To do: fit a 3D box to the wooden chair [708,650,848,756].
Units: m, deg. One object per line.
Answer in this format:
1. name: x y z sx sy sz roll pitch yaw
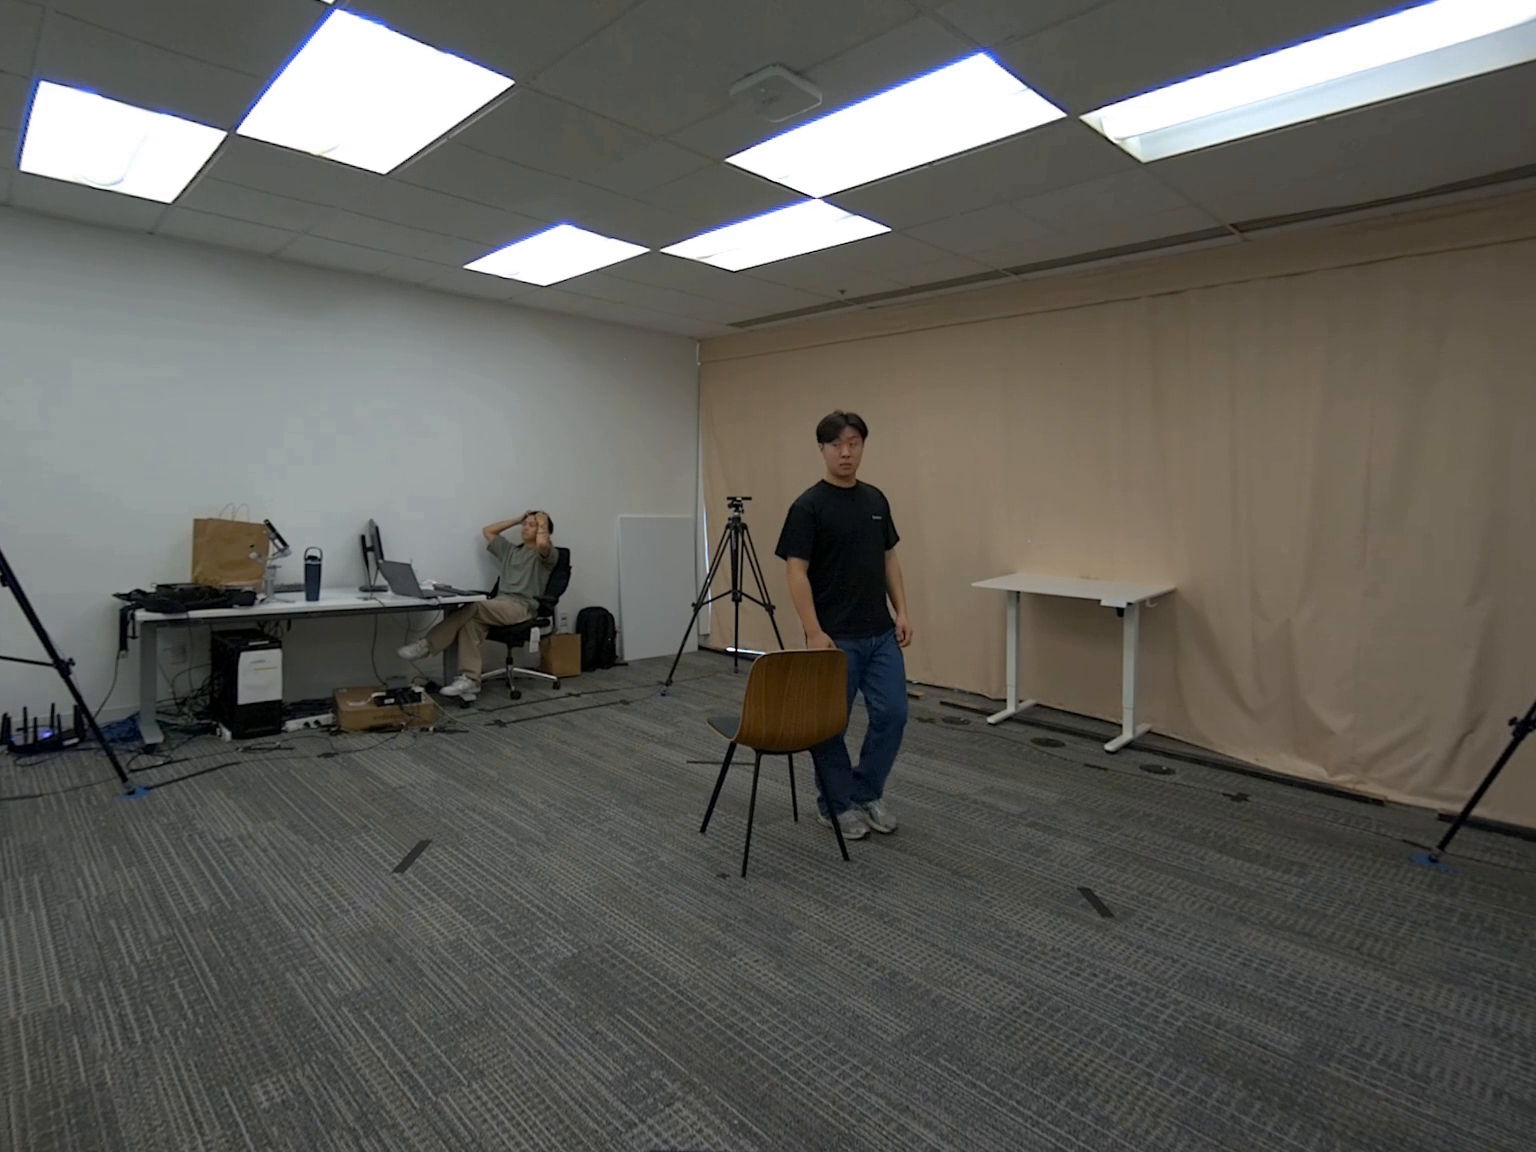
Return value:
1. wooden chair: 0.018 0.662 3.353 0.470 0.873 0.535 0 8 -24
